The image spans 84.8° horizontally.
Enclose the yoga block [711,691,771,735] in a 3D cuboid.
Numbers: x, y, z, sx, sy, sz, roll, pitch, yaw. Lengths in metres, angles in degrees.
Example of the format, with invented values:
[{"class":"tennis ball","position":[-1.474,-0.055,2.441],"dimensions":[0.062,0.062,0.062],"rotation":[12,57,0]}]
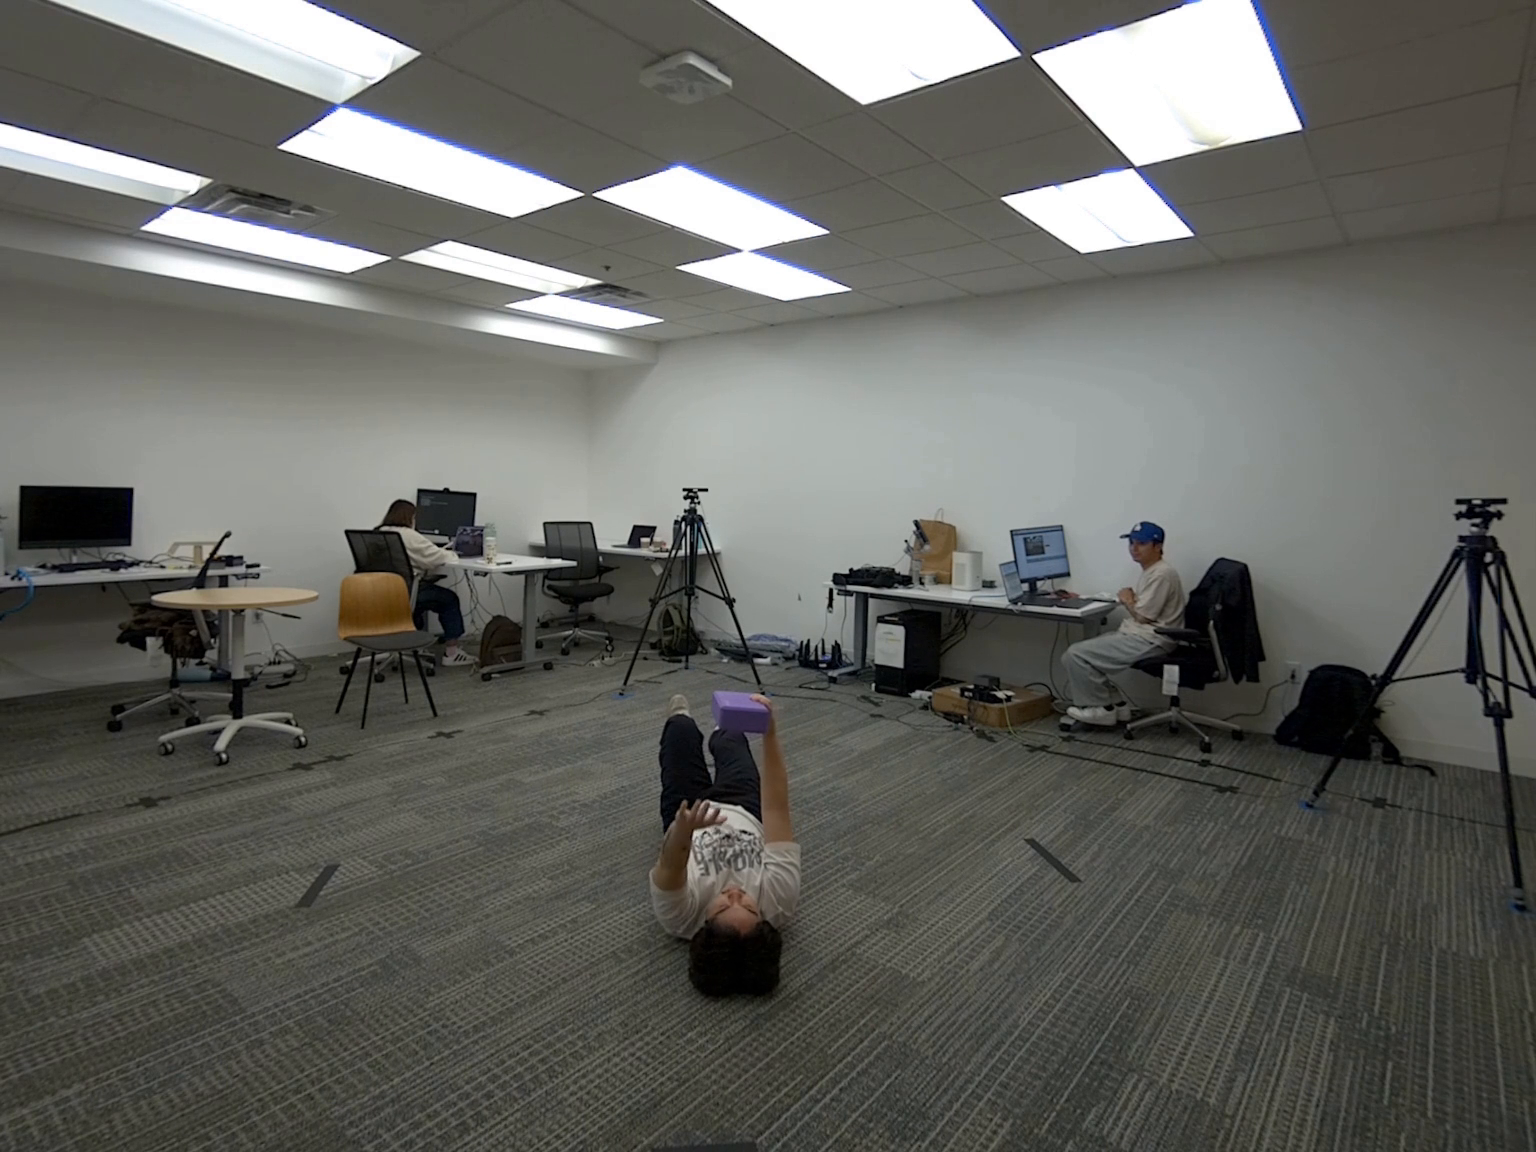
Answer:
[{"class":"yoga block","position":[-0.089,0.422,2.633],"dimensions":[0.148,0.076,0.231],"rotation":[5,2,-9]}]
